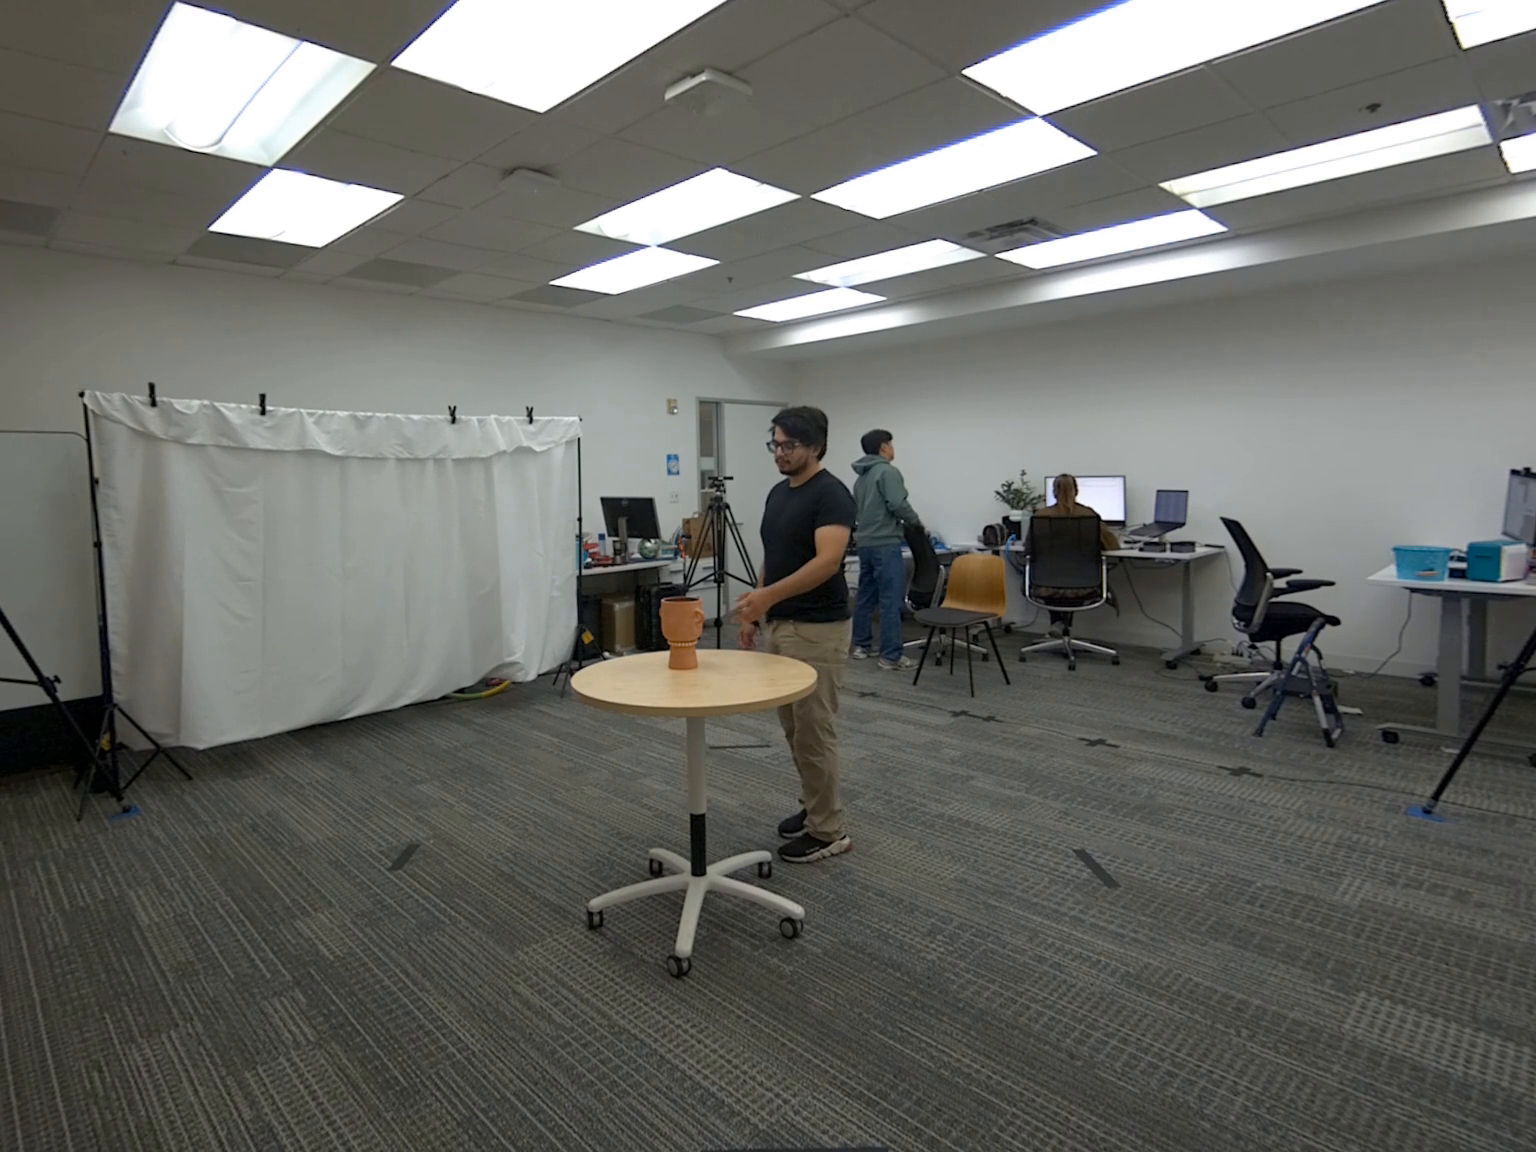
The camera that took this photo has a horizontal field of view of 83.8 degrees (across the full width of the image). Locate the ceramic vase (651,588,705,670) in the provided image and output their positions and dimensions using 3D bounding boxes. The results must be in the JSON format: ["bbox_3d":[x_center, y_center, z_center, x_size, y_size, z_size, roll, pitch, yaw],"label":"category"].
[{"bbox_3d":[-0.275,0.188,2.778,0.133,0.219,0.161,-1,4,-12],"label":"ceramic vase"}]
